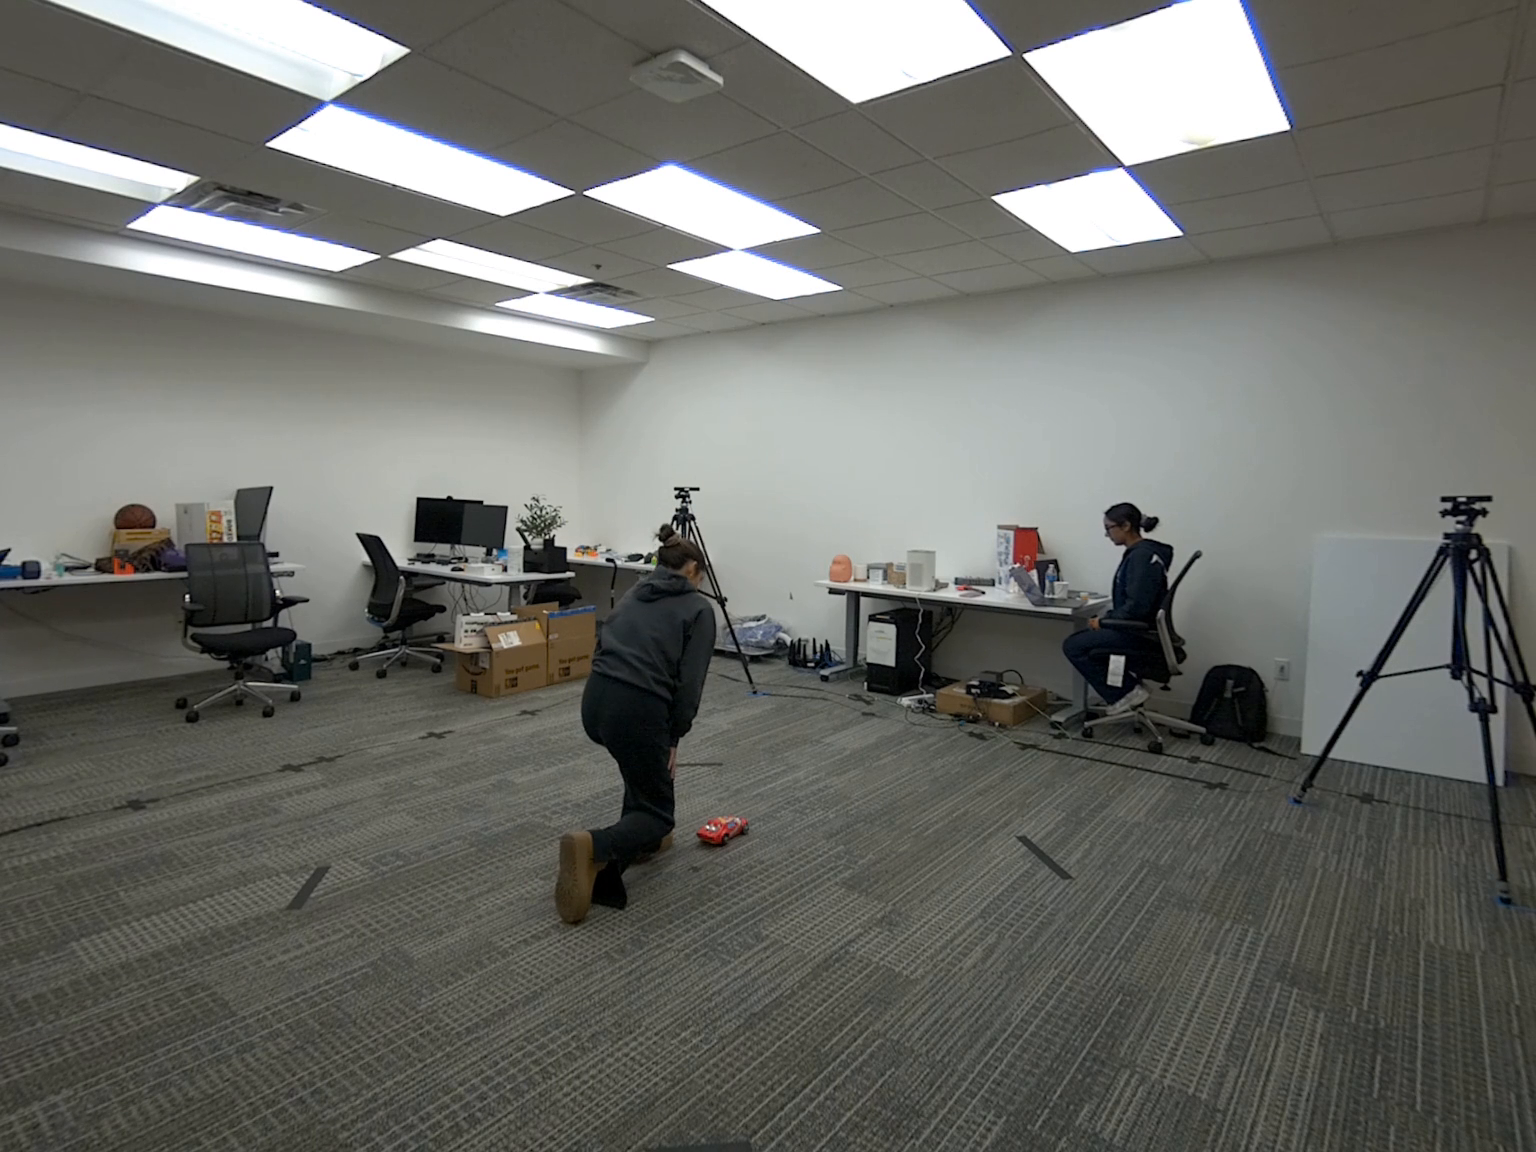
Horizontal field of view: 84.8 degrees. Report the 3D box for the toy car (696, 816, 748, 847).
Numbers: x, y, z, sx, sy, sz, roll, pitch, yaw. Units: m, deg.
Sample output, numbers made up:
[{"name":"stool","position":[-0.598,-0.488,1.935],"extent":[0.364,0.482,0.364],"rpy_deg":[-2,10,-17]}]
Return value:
[{"name":"toy car","position":[-0.183,1.009,3.380],"extent":[0.134,0.083,0.245],"rpy_deg":[4,-5,34]}]
